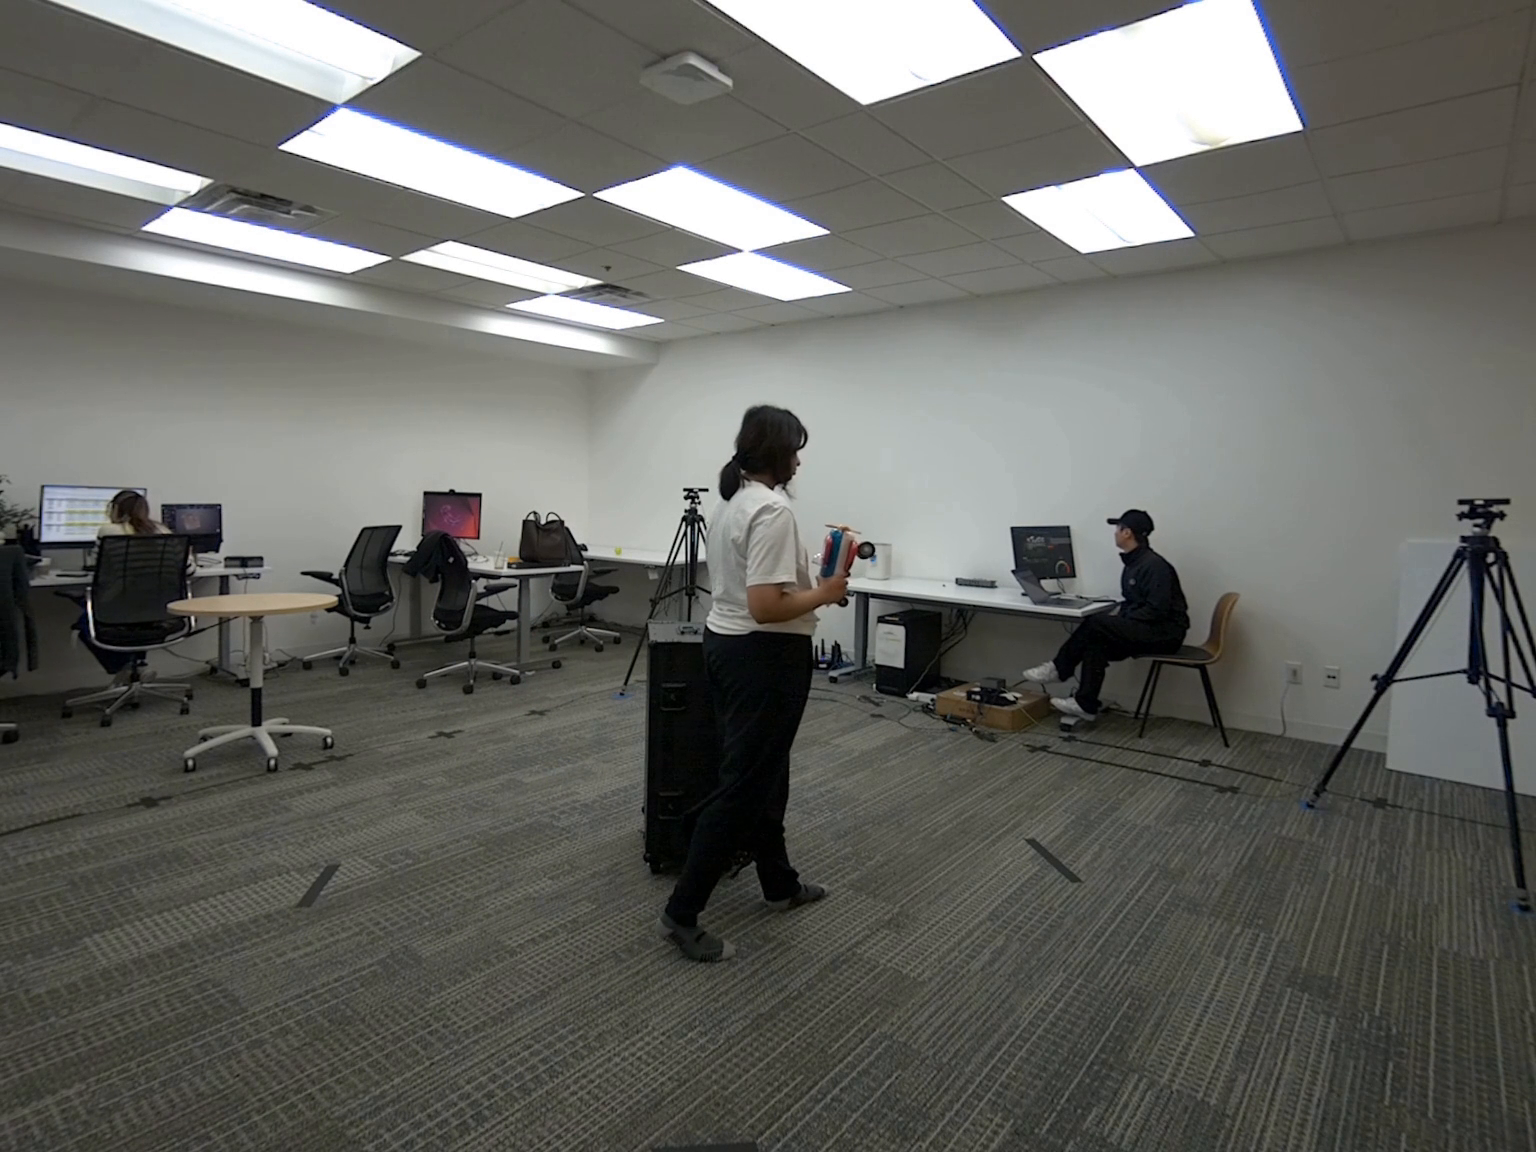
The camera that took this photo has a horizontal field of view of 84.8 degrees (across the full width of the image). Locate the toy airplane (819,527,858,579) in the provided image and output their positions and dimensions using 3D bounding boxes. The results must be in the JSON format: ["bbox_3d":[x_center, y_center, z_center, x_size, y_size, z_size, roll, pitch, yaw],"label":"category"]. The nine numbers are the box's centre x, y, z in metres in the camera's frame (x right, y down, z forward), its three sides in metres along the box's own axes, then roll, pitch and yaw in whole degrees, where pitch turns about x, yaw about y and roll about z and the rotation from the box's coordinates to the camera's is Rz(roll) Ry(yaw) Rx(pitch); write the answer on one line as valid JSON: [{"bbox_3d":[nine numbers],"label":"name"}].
[{"bbox_3d":[0.215,-0.031,2.655,0.156,0.261,0.248,27,-28,-1],"label":"toy airplane"}]
